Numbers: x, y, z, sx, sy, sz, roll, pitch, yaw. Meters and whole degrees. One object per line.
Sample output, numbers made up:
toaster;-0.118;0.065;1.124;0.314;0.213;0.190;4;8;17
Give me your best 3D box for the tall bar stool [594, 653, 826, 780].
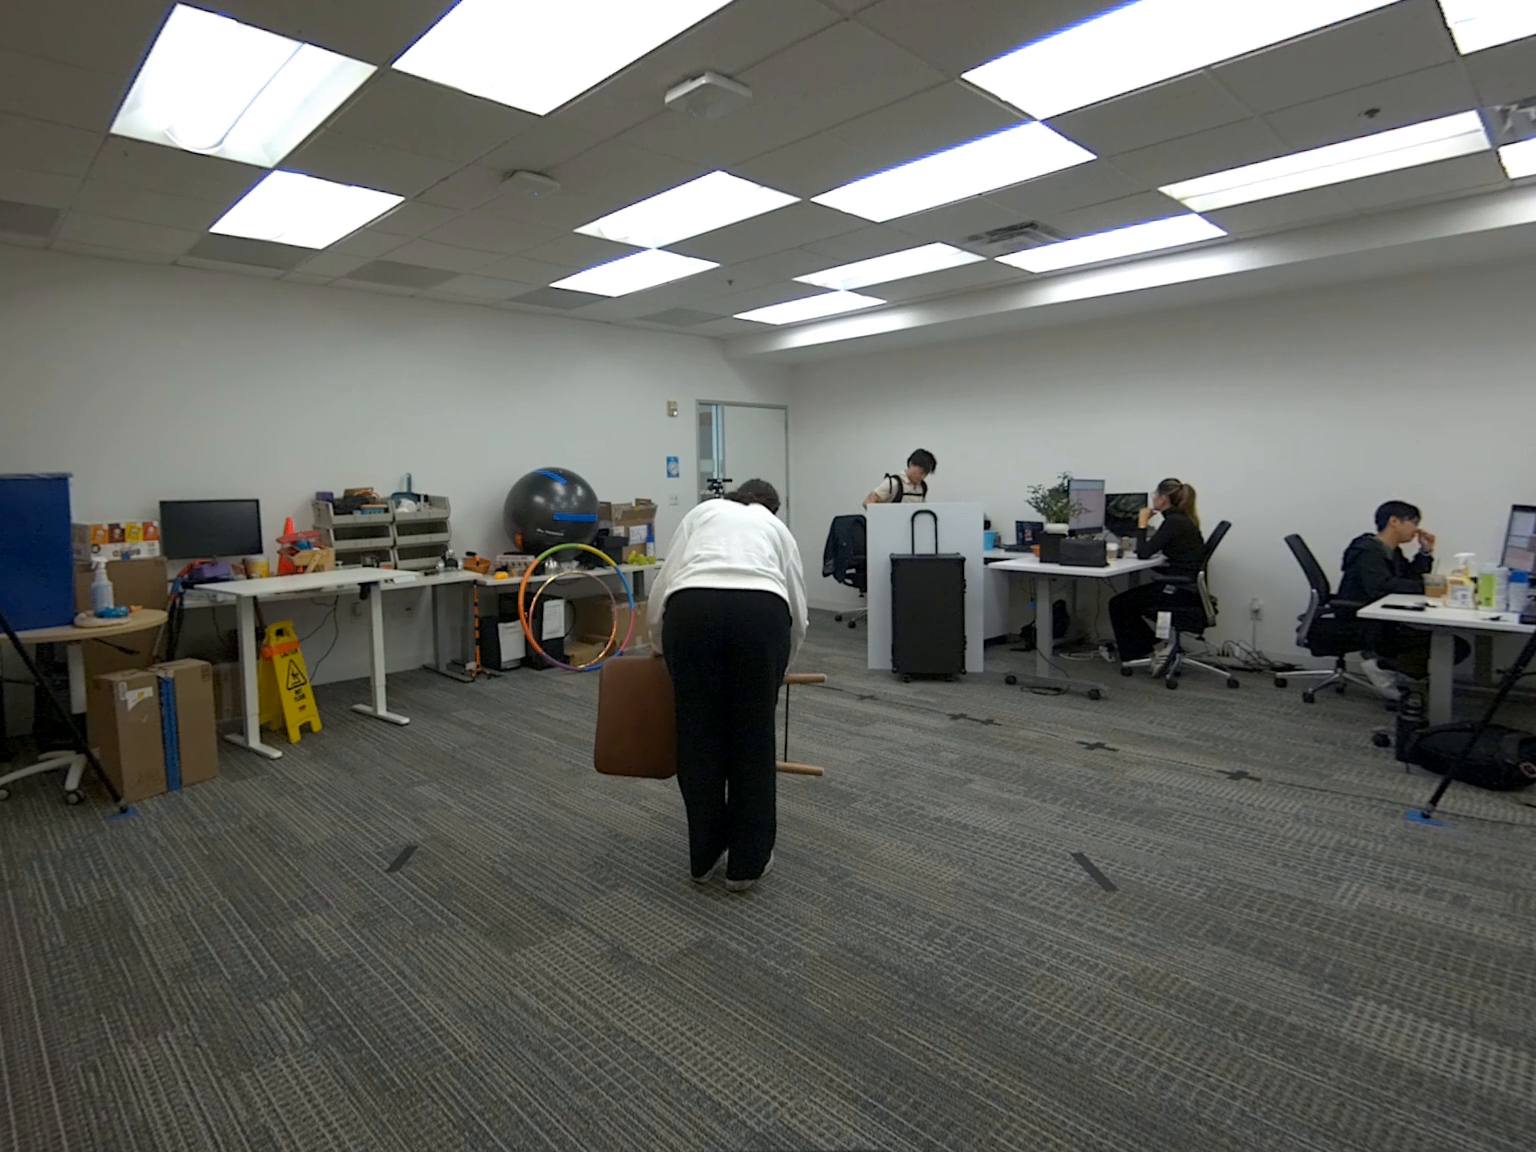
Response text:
tall bar stool;-0.260;0.544;3.321;0.872;0.460;0.473;5;-9;-20
